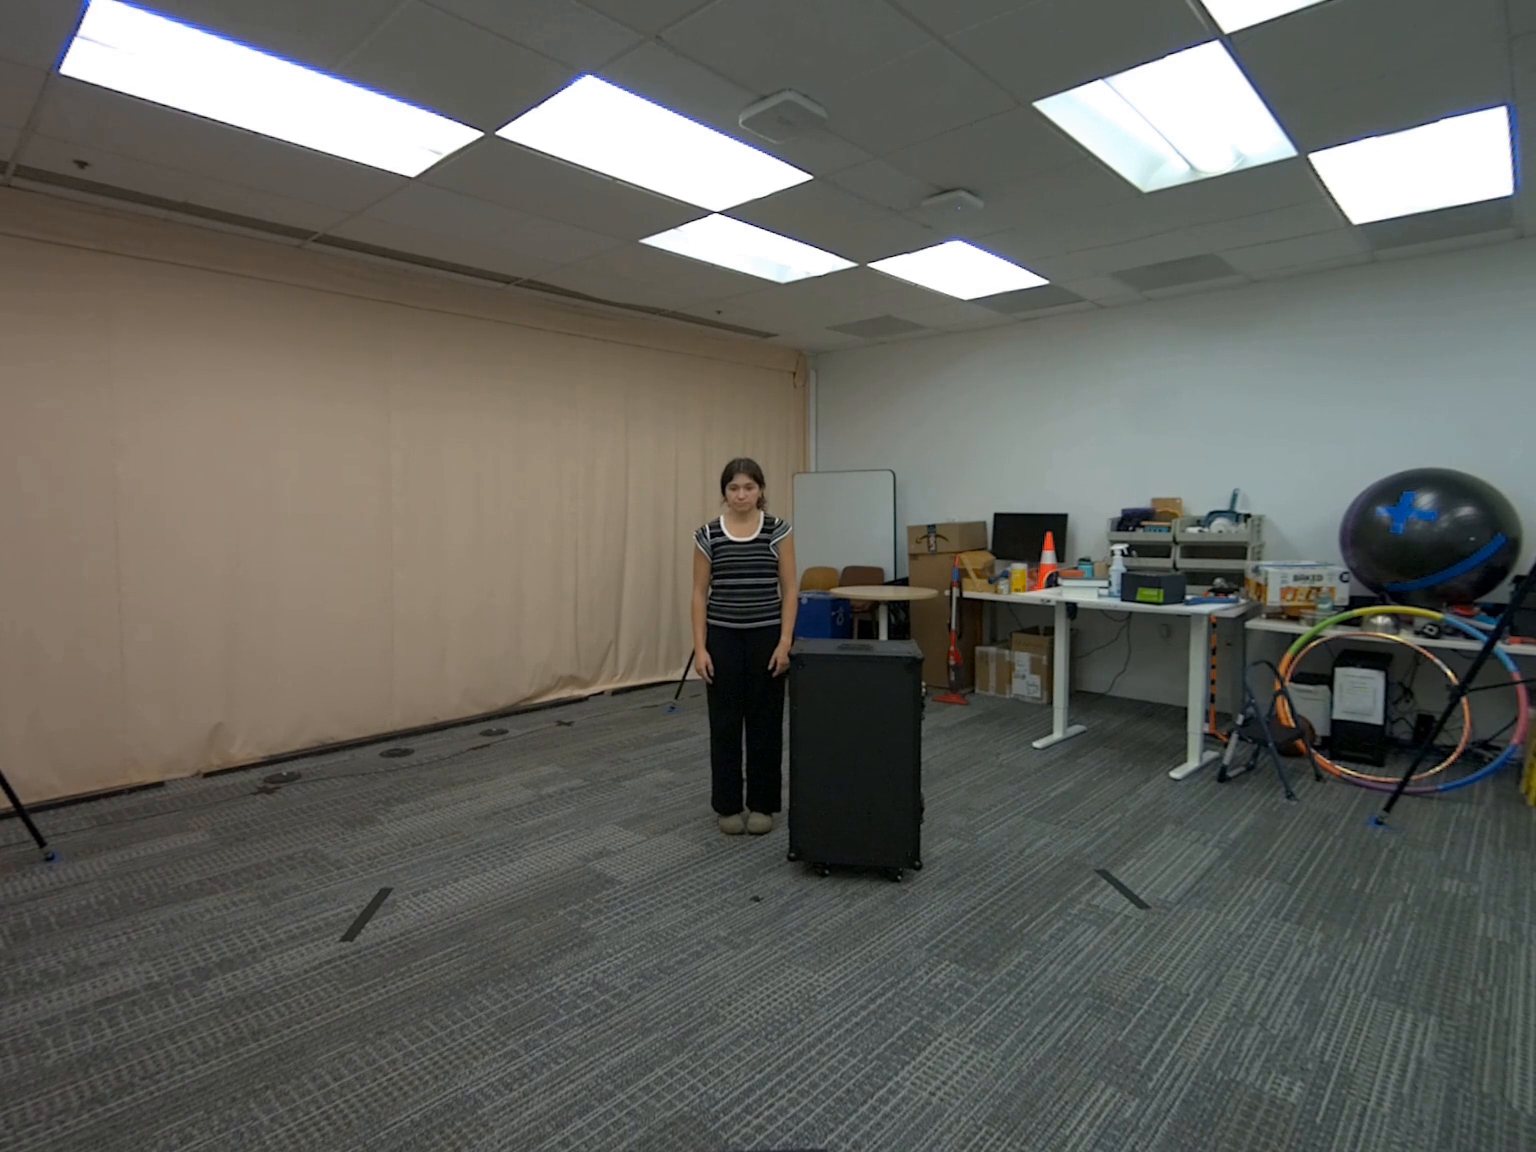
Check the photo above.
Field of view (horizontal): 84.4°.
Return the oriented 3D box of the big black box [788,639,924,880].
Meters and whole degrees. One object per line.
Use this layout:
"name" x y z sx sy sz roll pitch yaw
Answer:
"big black box" 0.340 0.694 3.258 0.527 0.860 0.392 0 2 10
